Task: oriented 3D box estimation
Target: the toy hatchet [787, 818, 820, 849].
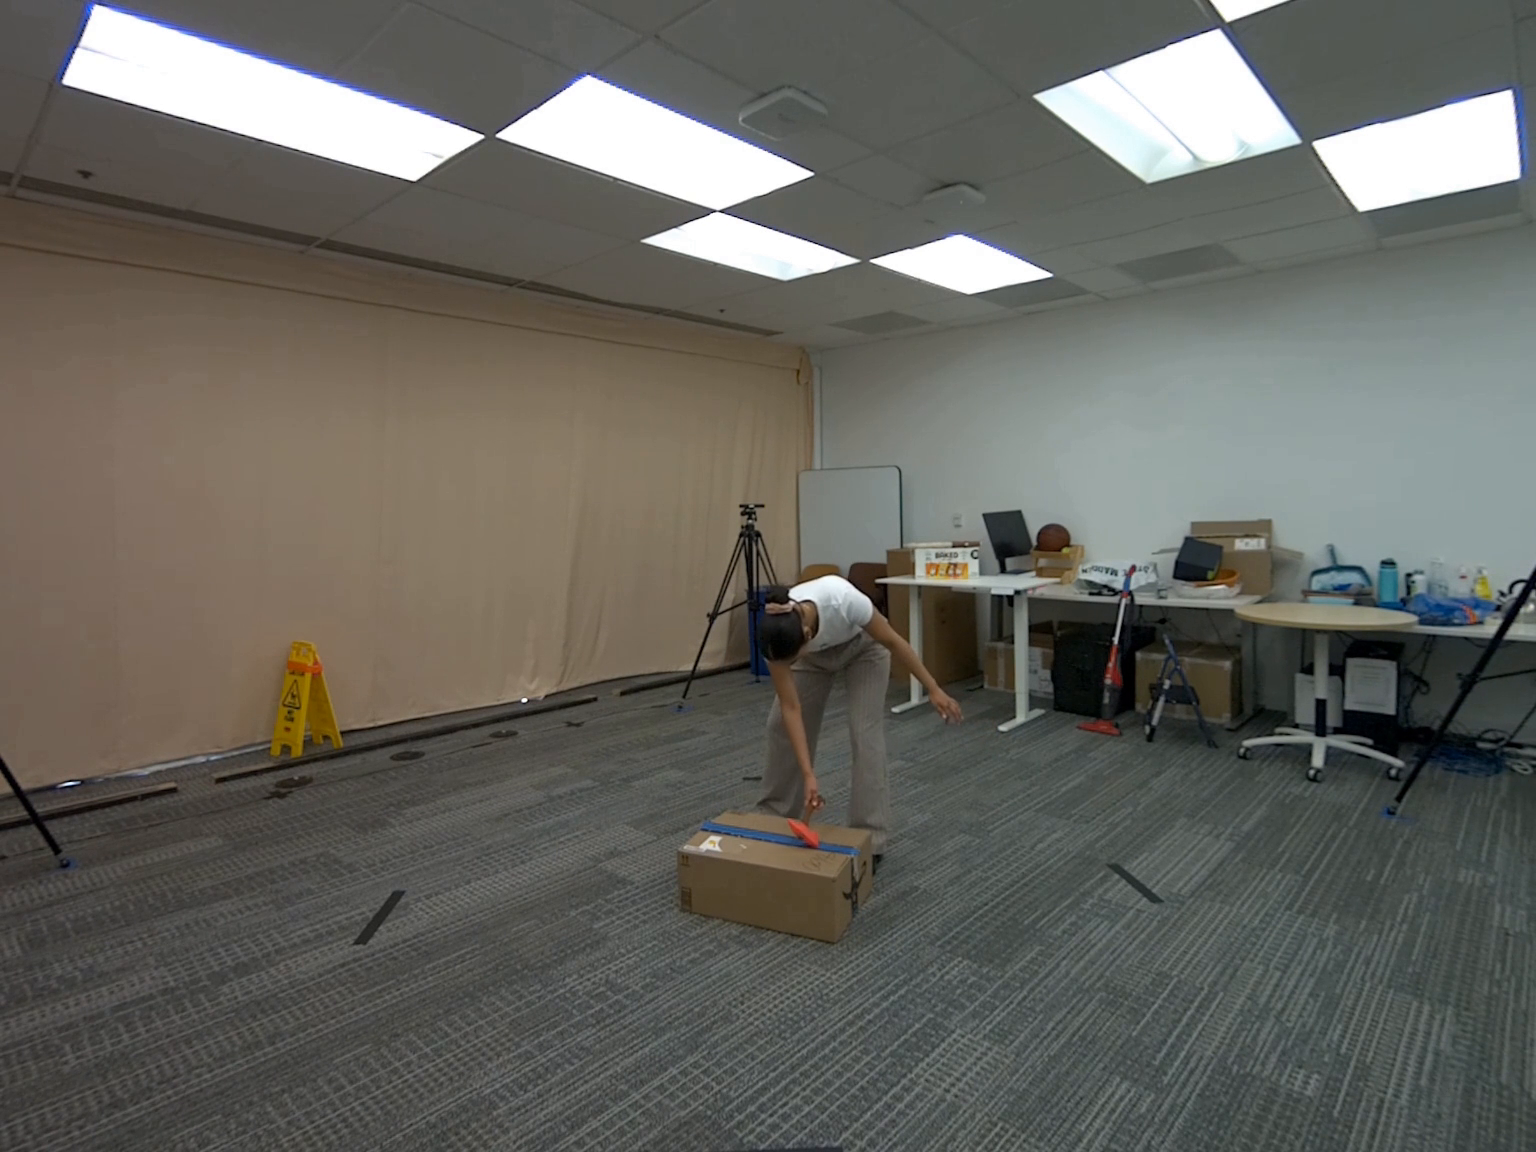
[{"bbox_3d":[0.181,0.871,2.968,0.134,0.030,0.263,44,22,18],"label":"toy hatchet"}]
